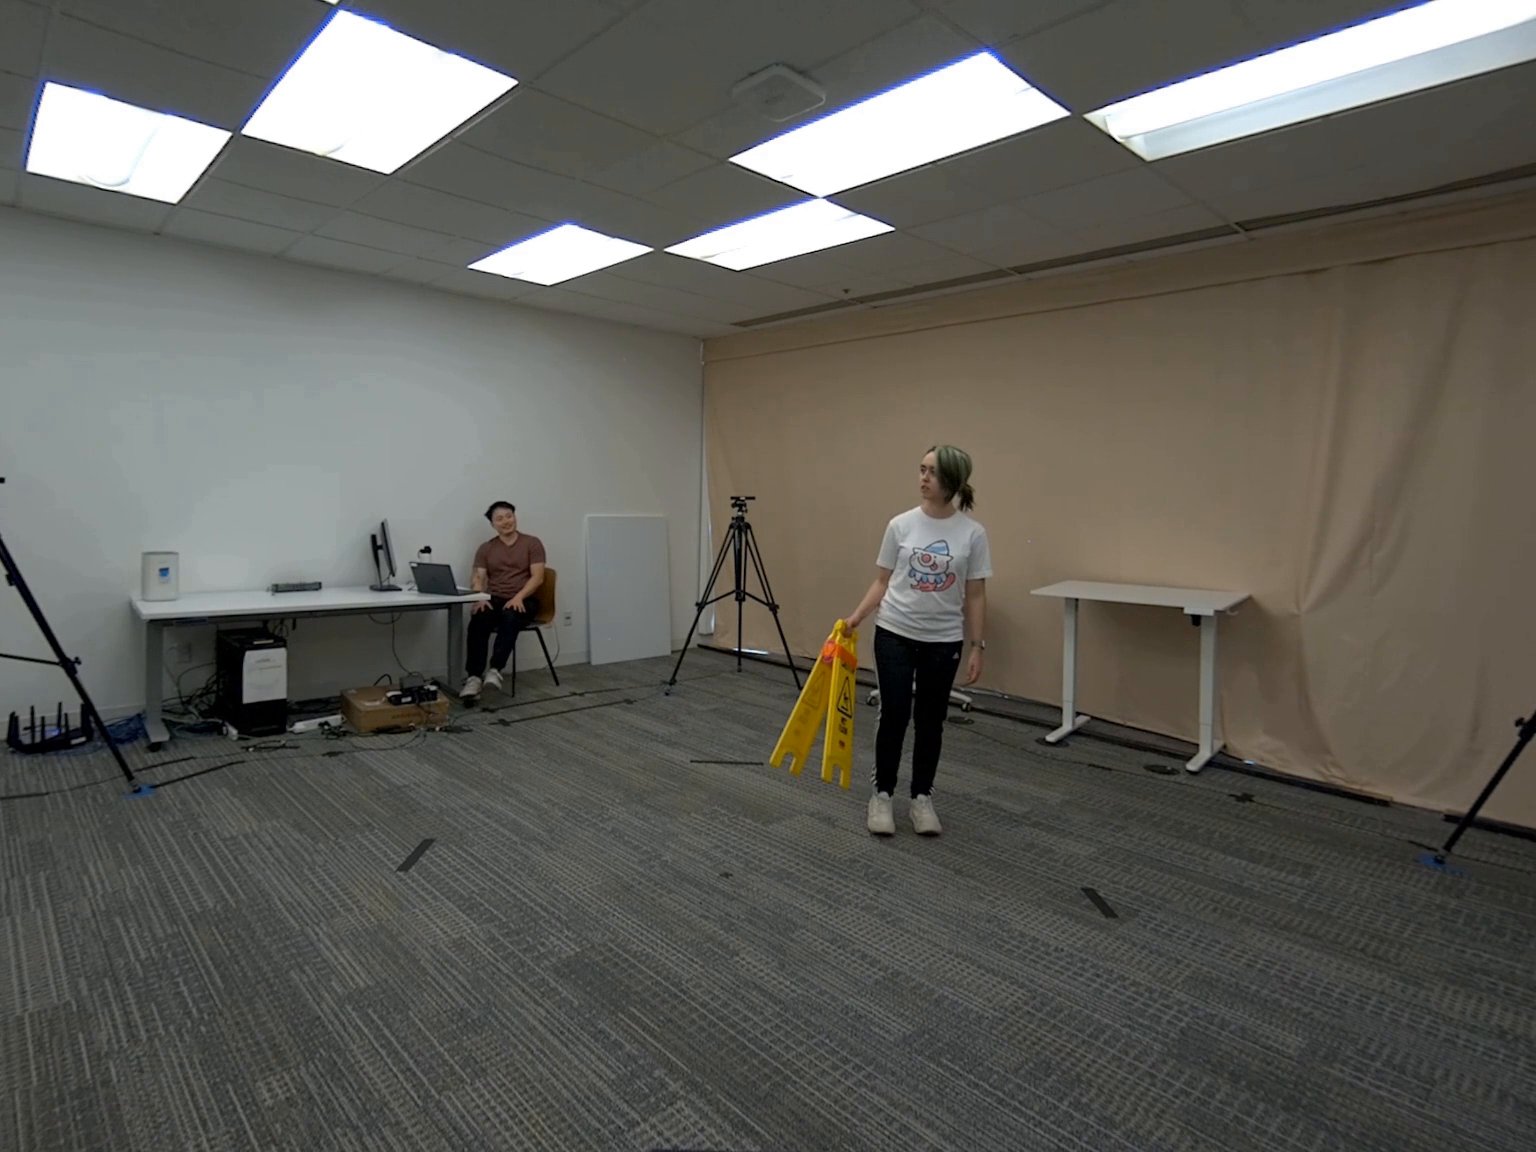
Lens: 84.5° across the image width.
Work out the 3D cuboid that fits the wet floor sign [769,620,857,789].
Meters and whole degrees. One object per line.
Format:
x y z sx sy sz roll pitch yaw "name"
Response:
0.249 0.516 3.495 0.296 0.650 0.274 8 -16 30 "wet floor sign"
